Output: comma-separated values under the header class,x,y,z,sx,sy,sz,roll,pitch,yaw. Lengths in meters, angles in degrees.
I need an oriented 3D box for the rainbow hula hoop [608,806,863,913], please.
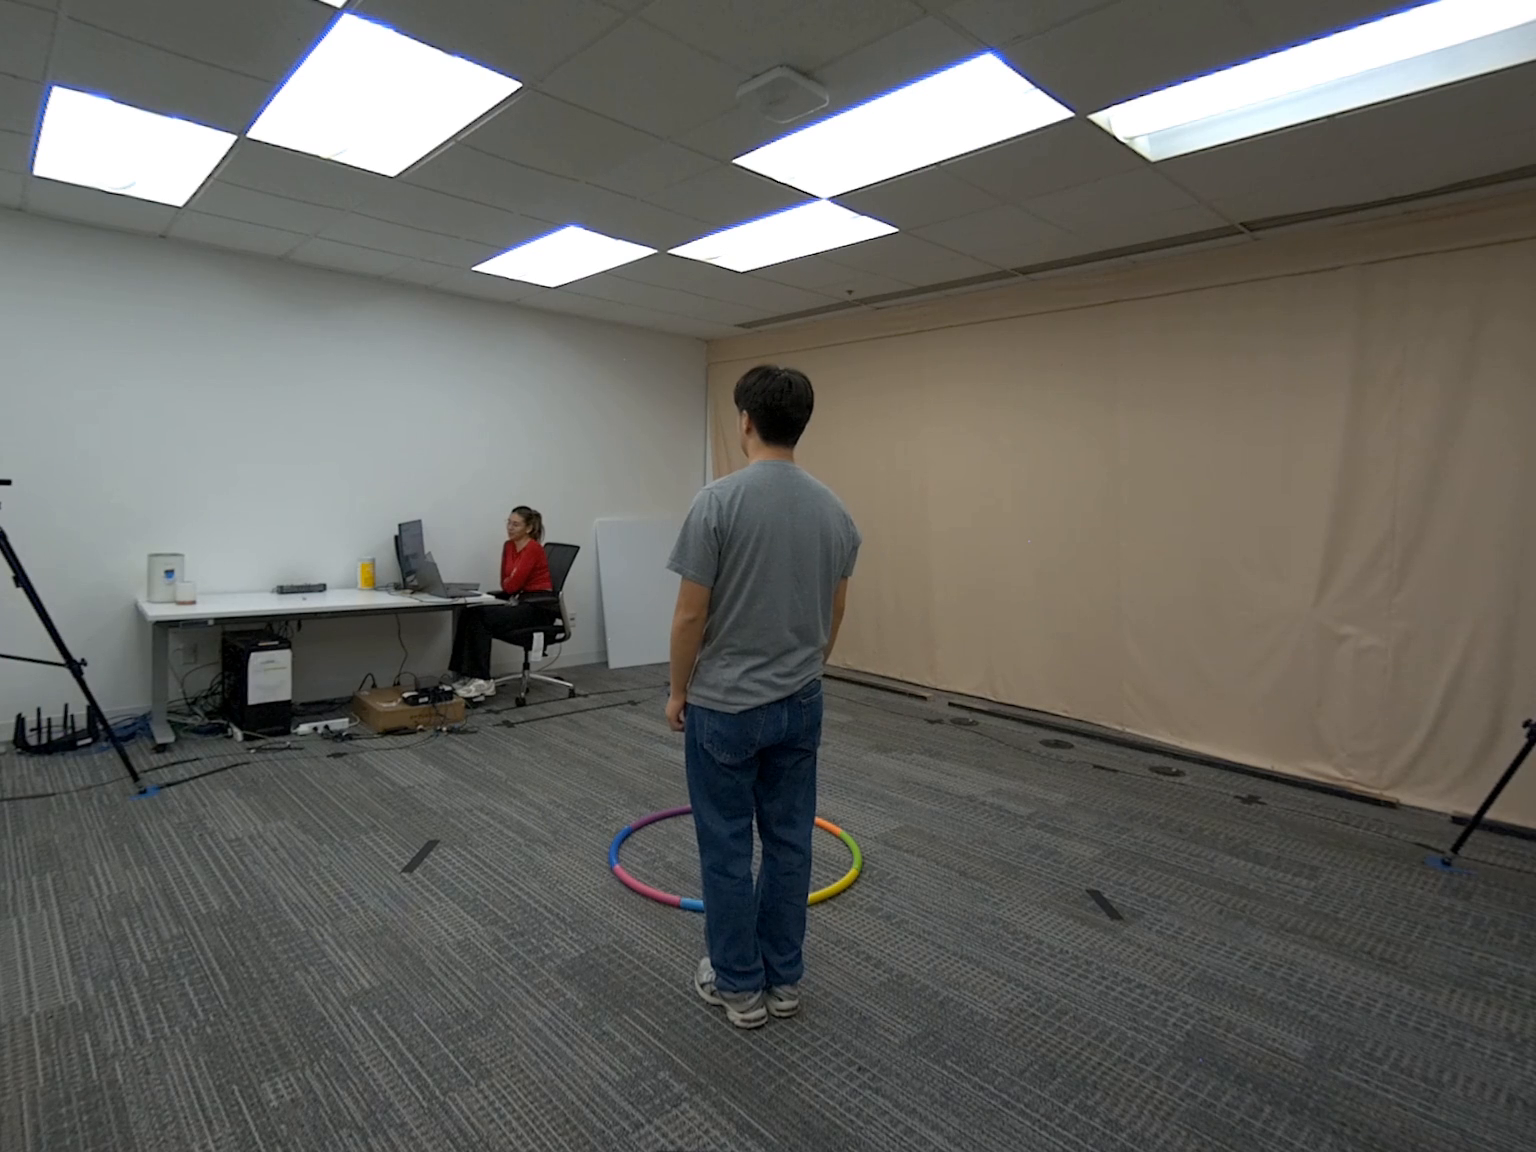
class,x,y,z,sx,sy,sz,roll,pitch,yaw
rainbow hula hoop,-0.139,1.057,3.298,0.978,0.035,0.982,1,5,-1
